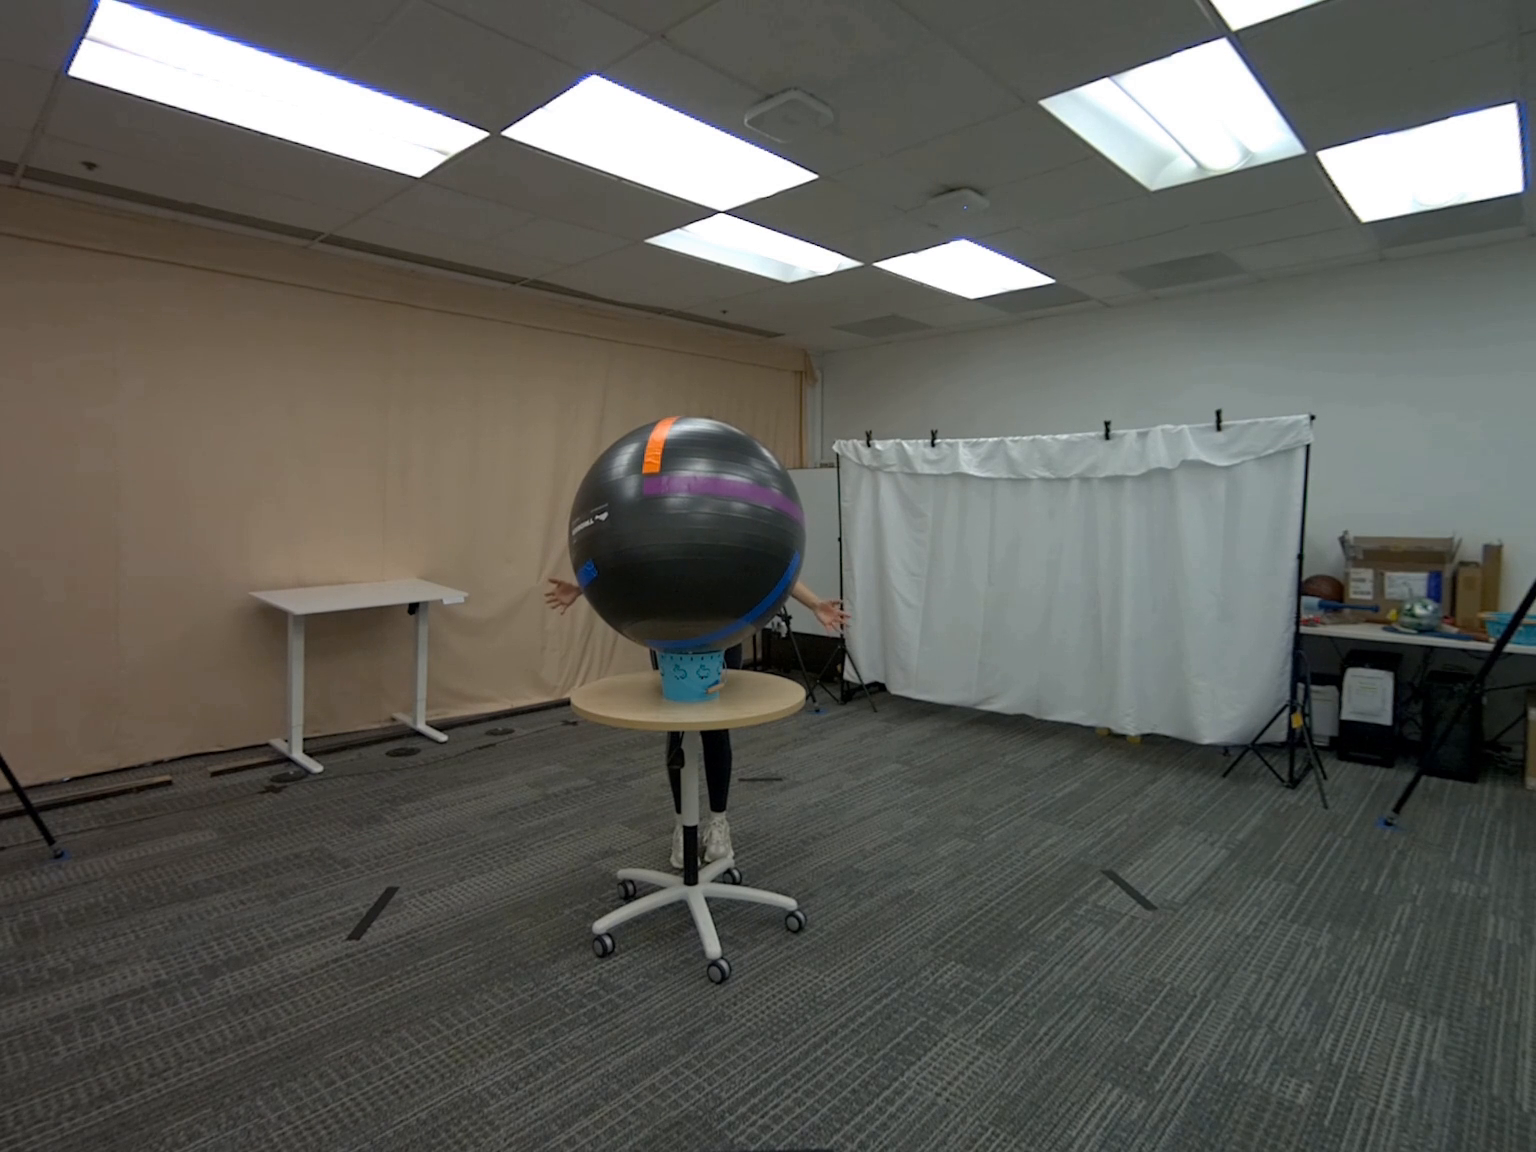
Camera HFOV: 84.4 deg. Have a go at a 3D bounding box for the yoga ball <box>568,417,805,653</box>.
[{"bbox_3d":[-0.262,-0.121,2.685,0.757,0.756,0.761,0,4,-2],"label":"yoga ball"}]
